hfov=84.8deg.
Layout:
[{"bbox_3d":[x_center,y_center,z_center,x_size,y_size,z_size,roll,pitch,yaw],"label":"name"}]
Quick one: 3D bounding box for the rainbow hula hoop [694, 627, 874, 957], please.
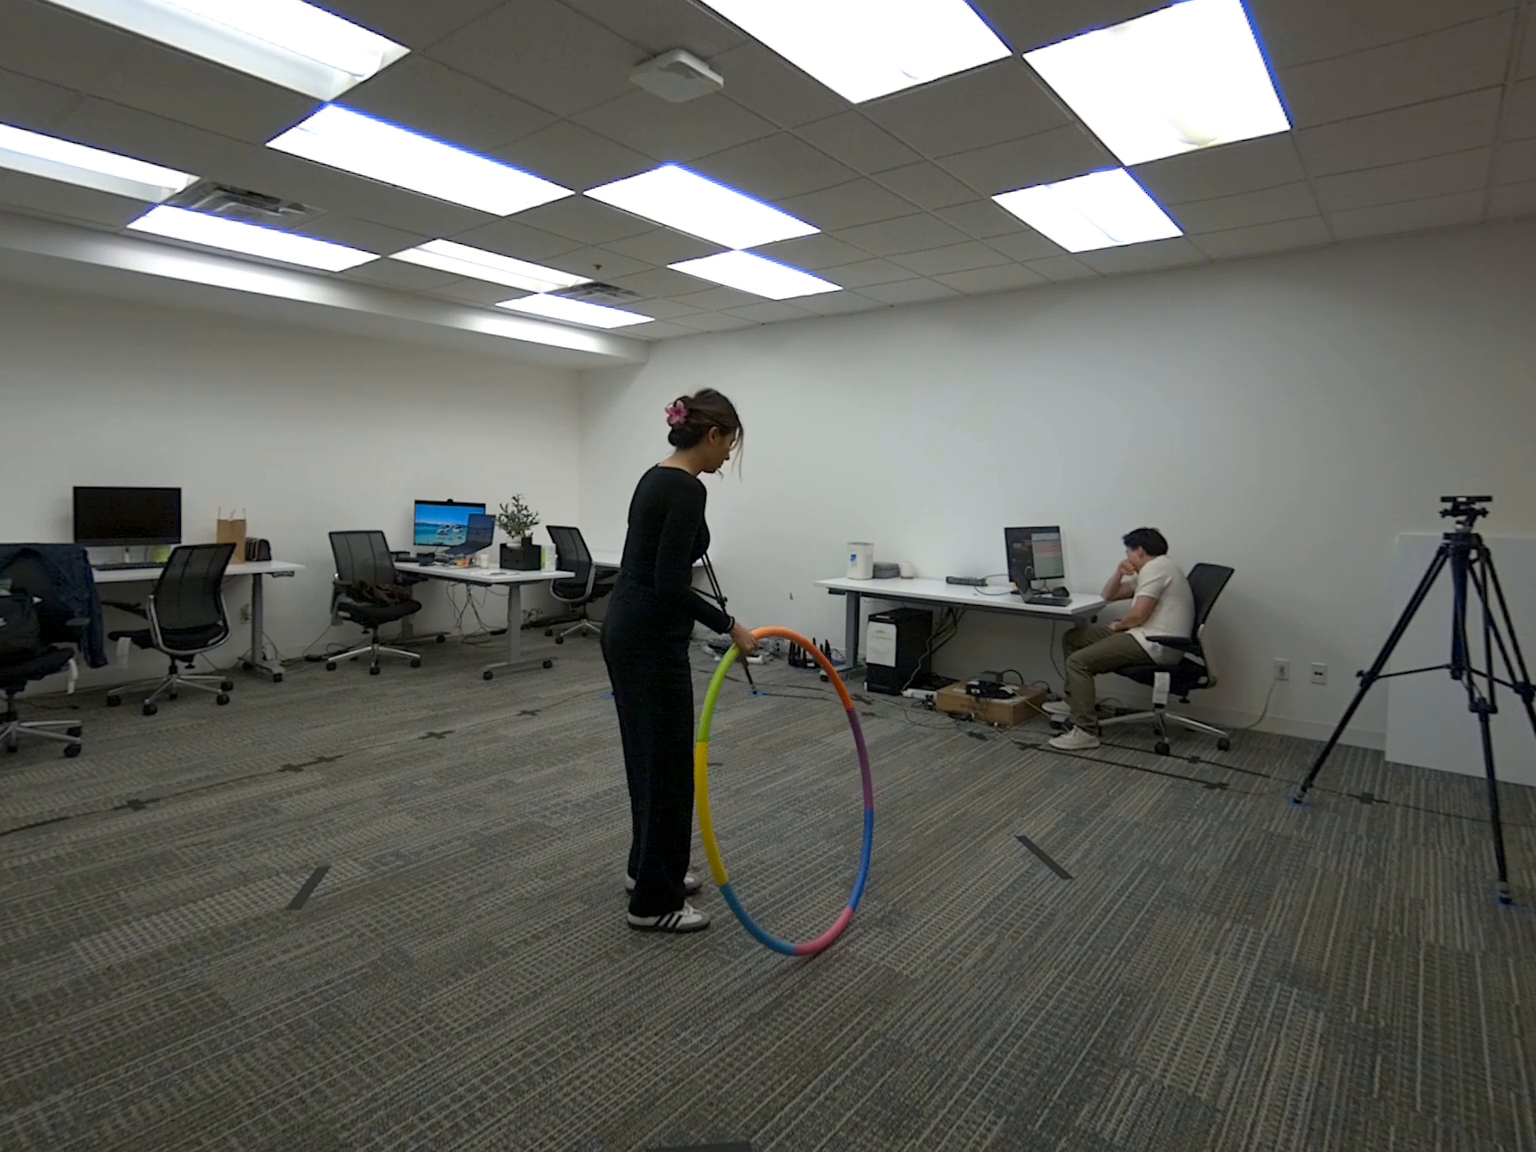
[{"bbox_3d":[0.061,0.649,2.677,0.036,0.987,0.952,-18,-7,33],"label":"rainbow hula hoop"}]
